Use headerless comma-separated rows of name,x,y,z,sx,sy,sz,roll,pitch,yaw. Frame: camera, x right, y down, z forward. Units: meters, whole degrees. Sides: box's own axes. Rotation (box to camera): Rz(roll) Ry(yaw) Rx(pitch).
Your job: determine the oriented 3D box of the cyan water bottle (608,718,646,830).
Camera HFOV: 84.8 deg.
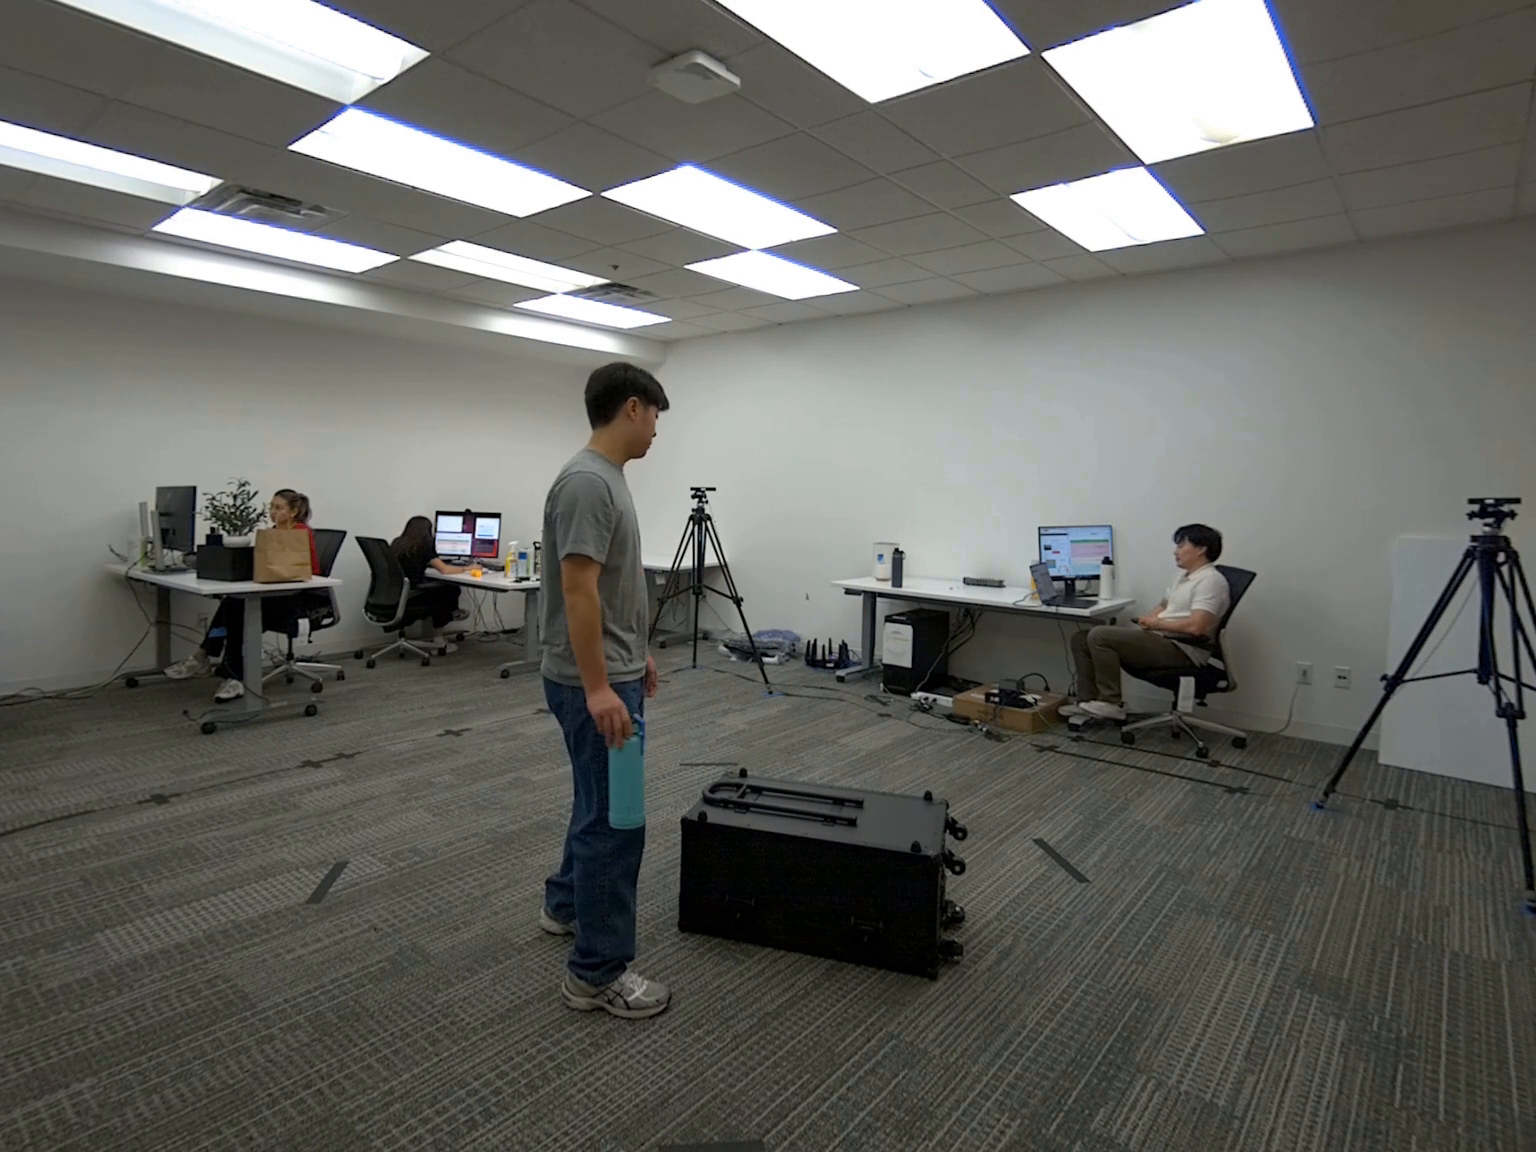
cyan water bottle,-0.368,0.482,2.168,0.092,0.284,0.092,1,-3,-2
